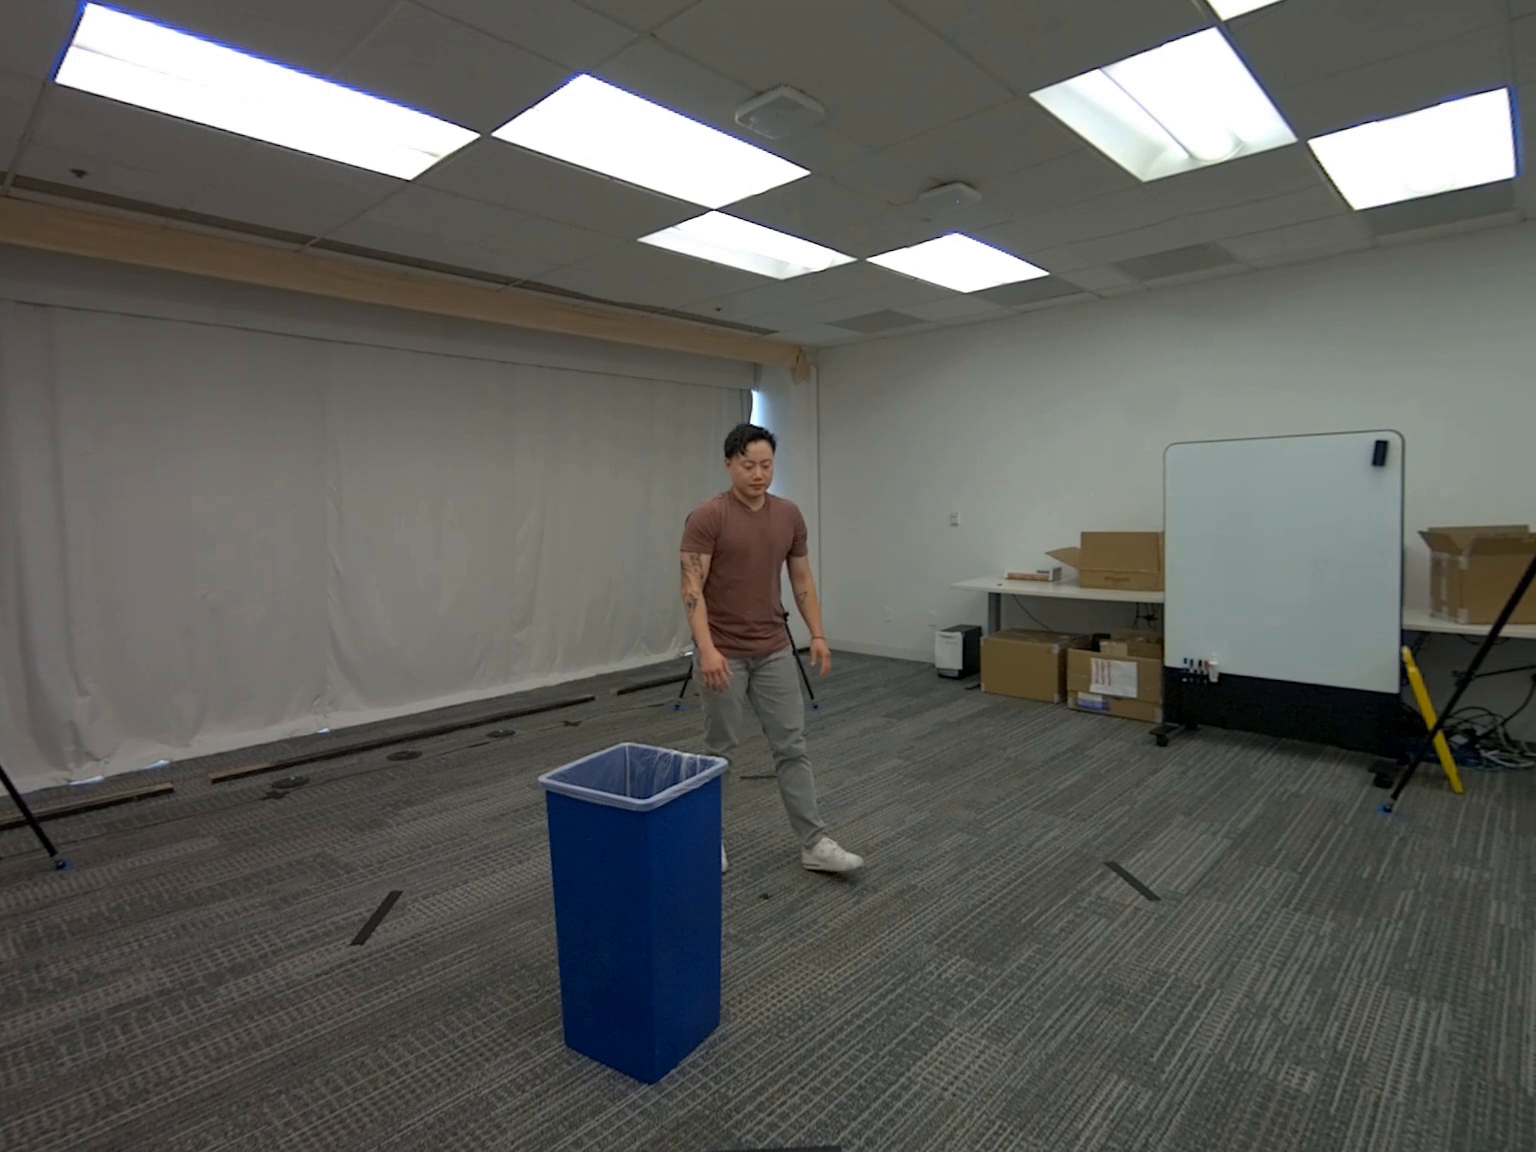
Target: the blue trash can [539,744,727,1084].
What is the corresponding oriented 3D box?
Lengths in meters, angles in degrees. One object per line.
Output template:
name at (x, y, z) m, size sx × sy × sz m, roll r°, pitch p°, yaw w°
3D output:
blue trash can at (-0.335, 0.855, 2.196) m, size 0.389 × 0.712 × 0.364 m, roll 1°, pitch 4°, yaw 32°
